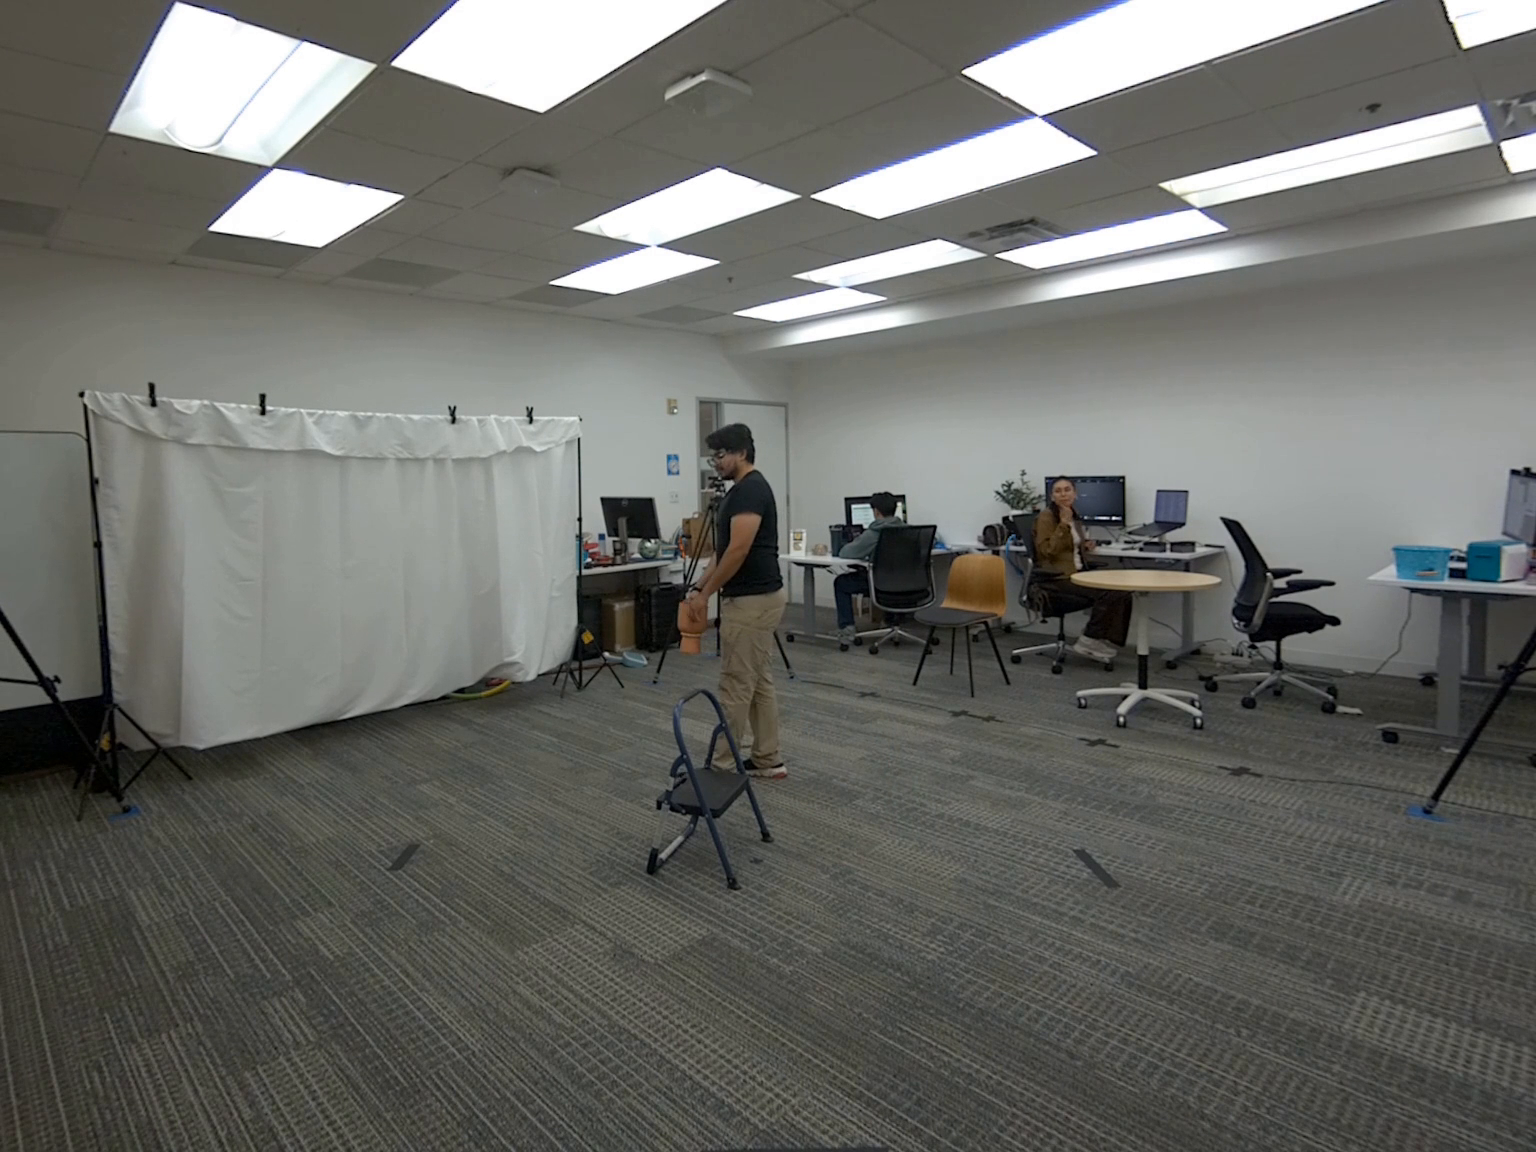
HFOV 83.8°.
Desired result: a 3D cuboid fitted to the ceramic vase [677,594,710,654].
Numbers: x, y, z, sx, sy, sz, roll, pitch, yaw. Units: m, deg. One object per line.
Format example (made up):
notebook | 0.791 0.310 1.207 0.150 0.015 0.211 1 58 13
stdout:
ceramic vase | -0.345 0.237 3.920 0.138 0.220 0.154 4 -1 28
